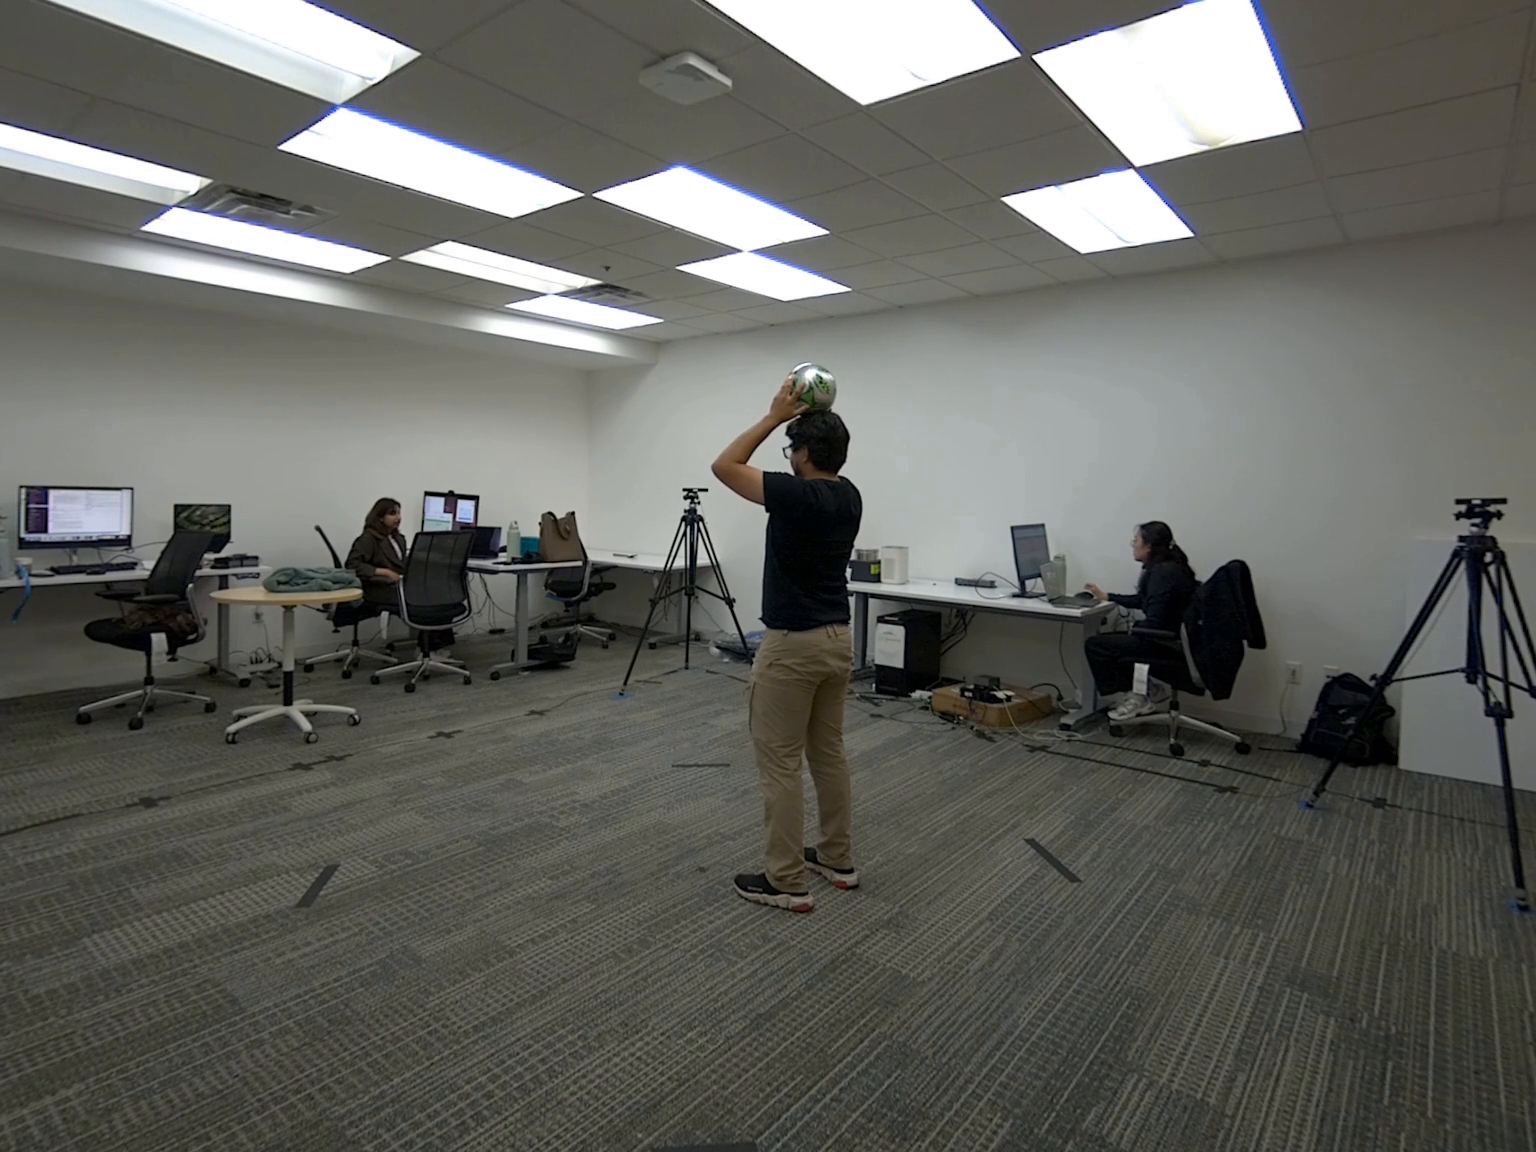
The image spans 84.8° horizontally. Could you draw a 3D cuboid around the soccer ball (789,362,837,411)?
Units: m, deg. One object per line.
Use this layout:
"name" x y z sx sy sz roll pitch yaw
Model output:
"soccer ball" 0.140 -0.649 2.983 0.187 0.187 0.188 1 4 -2
